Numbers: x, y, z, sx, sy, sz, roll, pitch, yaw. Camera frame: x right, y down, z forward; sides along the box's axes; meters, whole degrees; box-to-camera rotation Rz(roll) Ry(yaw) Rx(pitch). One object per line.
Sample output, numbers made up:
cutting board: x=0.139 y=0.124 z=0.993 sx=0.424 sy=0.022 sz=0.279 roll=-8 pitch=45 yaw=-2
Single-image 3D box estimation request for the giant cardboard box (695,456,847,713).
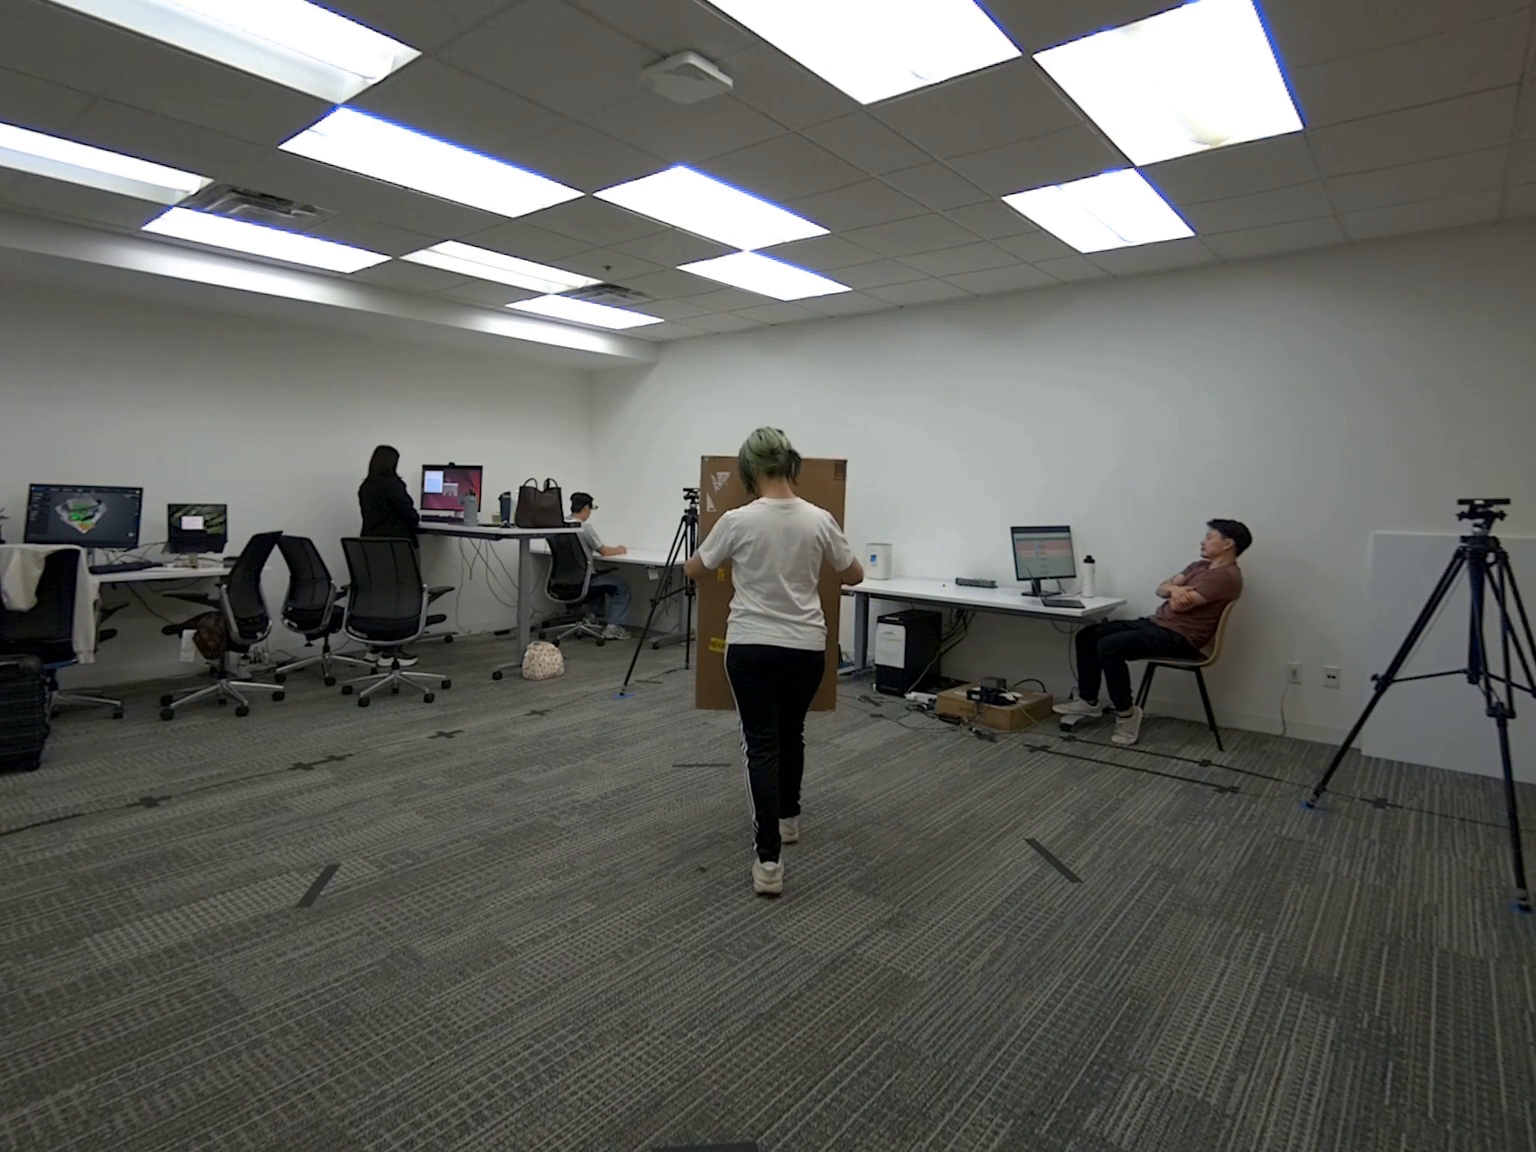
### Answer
giant cardboard box: x=-0.020 y=0.009 z=3.594 sx=0.582 sy=1.022 sz=0.450 roll=1 pitch=5 yaw=-3
